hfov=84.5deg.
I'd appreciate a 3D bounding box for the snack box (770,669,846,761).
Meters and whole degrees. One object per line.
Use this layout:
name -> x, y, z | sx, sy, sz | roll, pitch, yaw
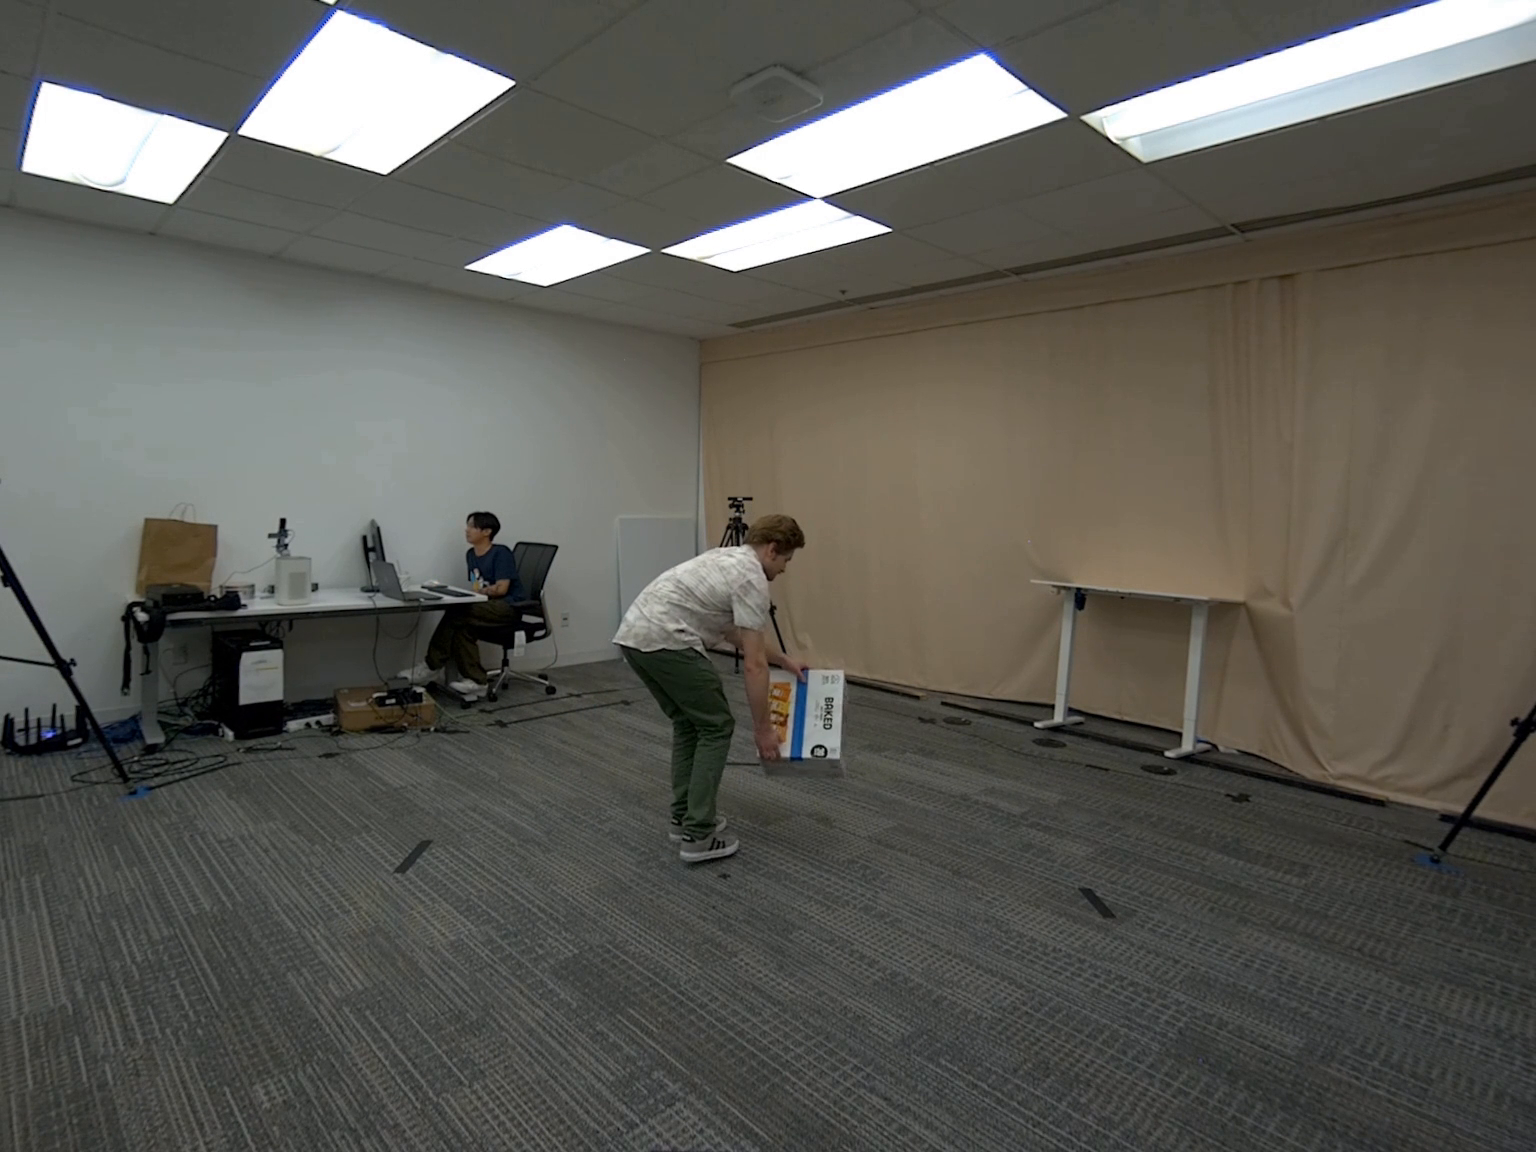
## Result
snack box -> 0.148, 0.626, 3.570 | 0.344, 0.412, 0.200 | -2, -36, 13
